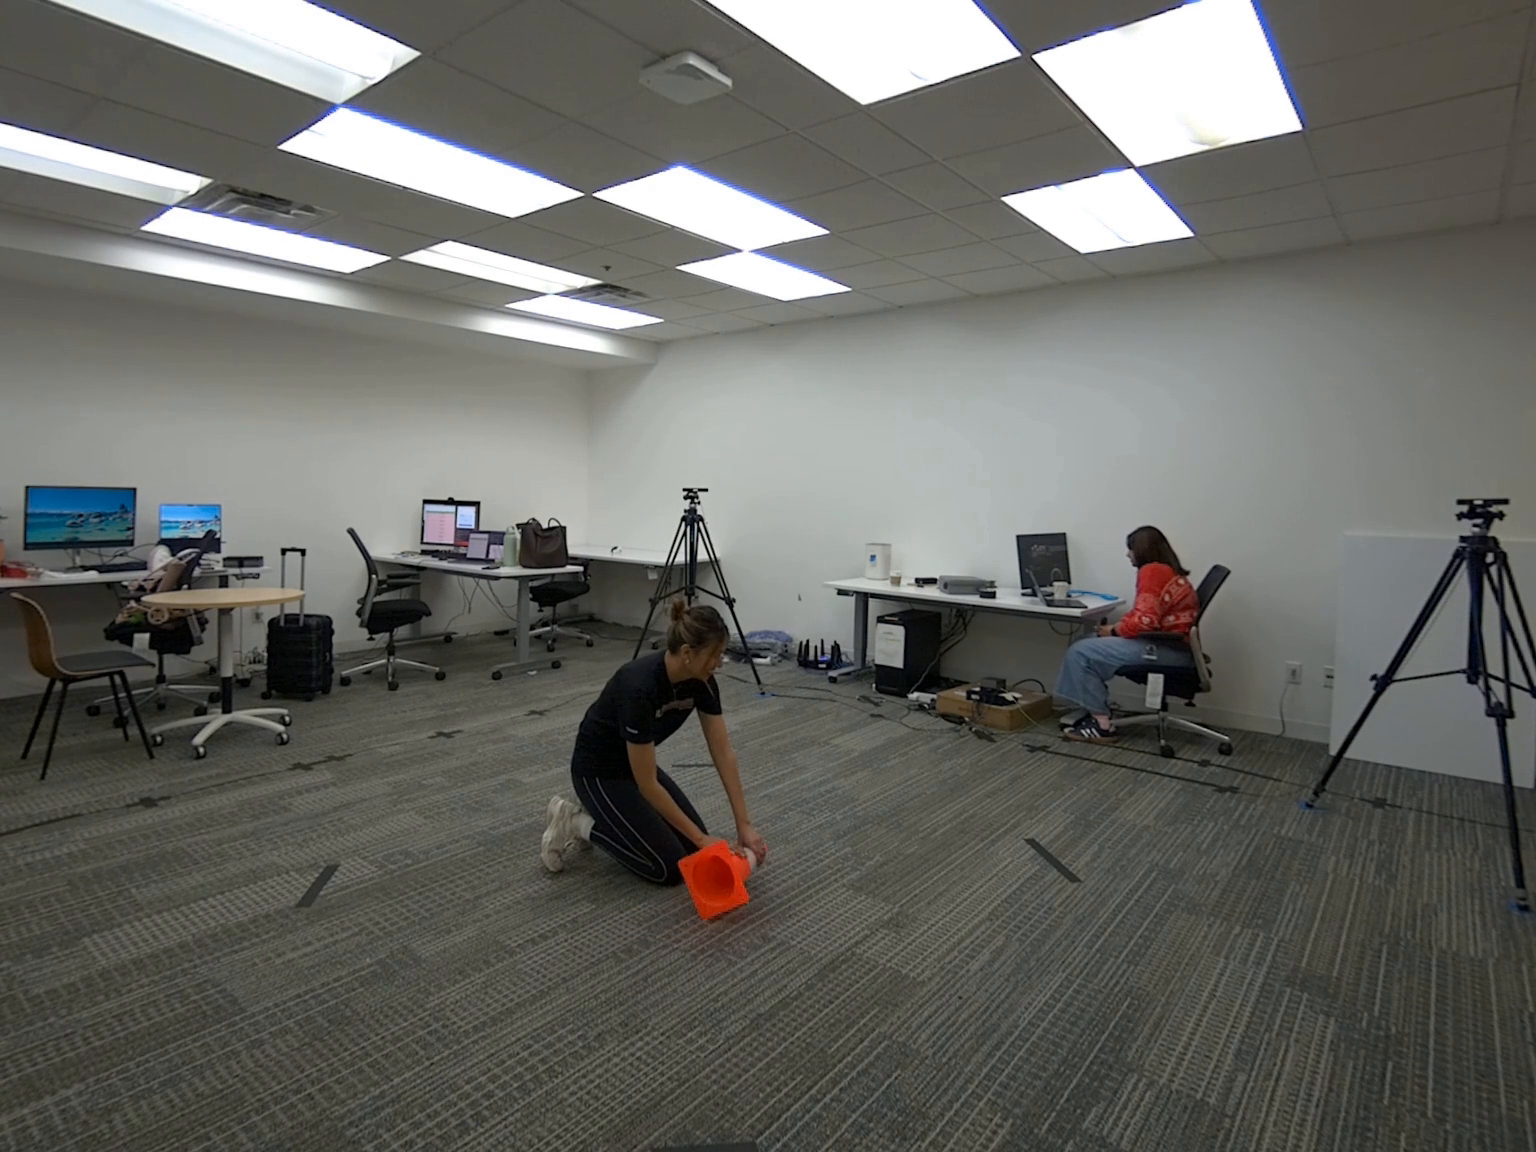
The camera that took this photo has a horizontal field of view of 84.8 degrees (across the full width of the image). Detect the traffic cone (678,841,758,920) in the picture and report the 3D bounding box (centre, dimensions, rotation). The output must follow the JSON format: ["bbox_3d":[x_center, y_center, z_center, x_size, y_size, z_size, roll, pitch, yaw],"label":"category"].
[{"bbox_3d":[-0.114,0.987,2.895,0.206,0.208,0.372,-31,-16,20],"label":"traffic cone"}]
